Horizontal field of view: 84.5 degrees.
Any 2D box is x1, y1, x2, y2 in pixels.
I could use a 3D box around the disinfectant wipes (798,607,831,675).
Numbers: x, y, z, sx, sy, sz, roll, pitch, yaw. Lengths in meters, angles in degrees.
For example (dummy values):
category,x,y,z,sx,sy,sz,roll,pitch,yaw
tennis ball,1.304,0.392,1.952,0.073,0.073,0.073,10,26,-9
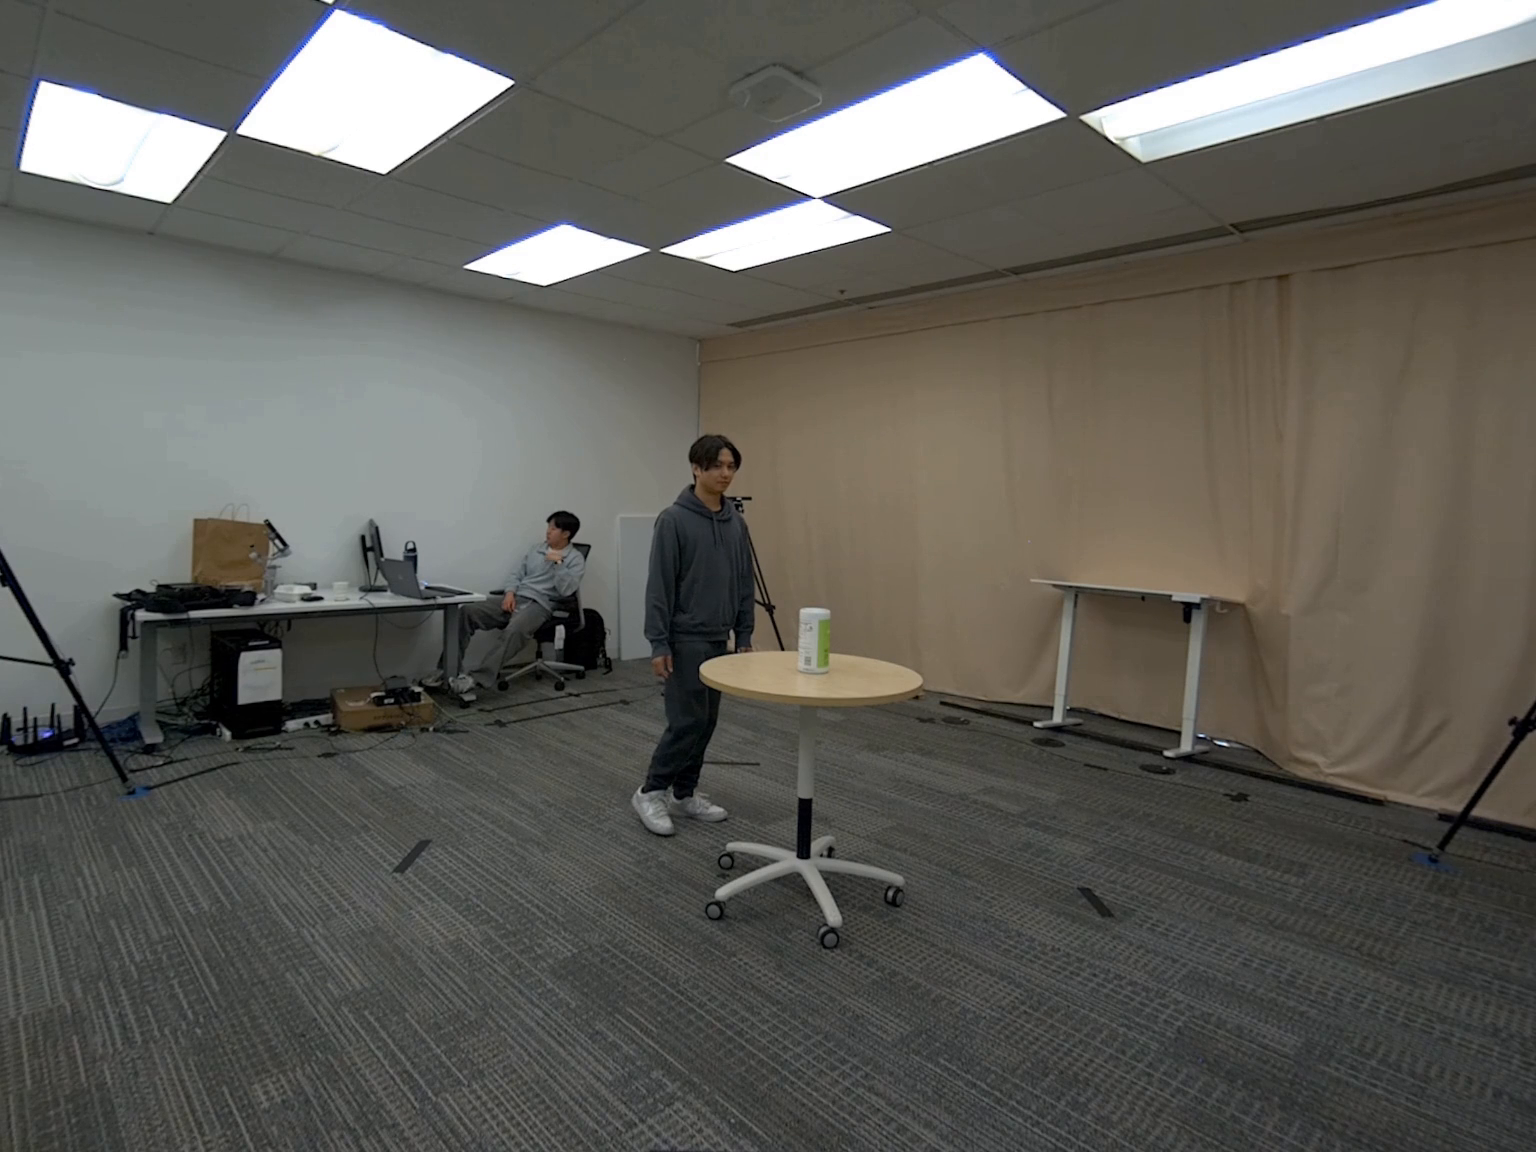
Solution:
category,x,y,z,sx,sy,sz,roll,pitch,yaw
disinfectant wipes,0.157,0.225,2.920,0.118,0.217,0.118,2,3,-1
